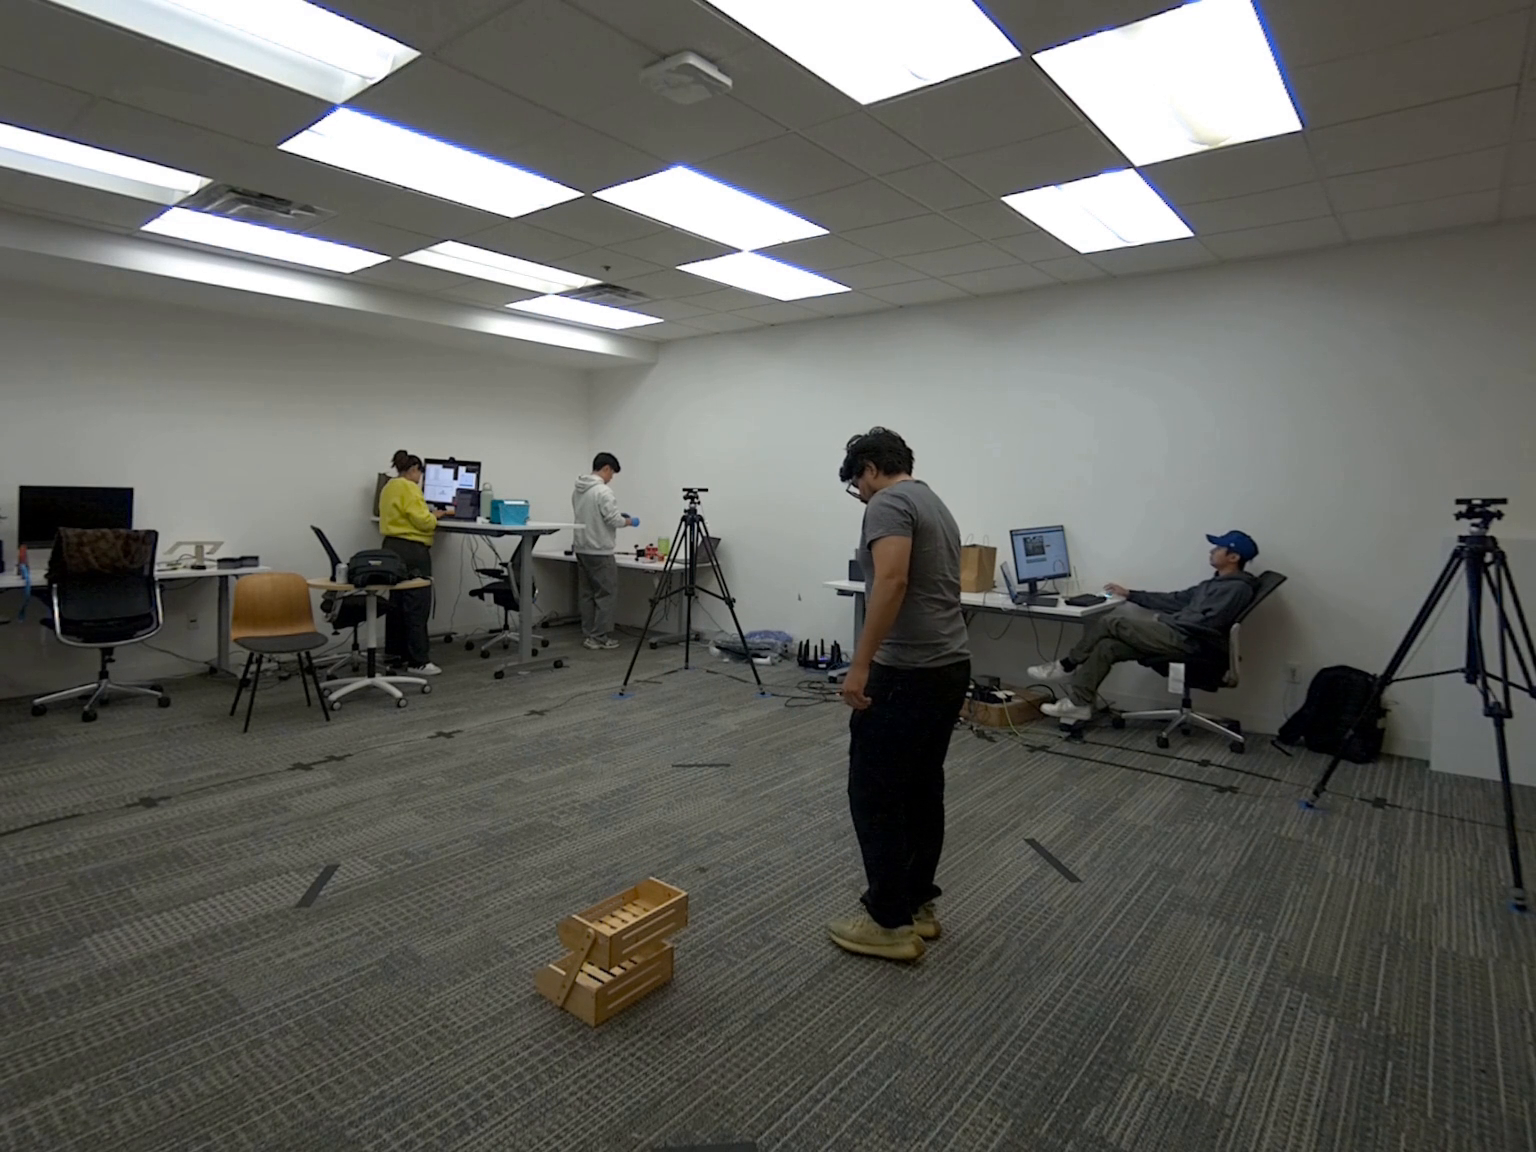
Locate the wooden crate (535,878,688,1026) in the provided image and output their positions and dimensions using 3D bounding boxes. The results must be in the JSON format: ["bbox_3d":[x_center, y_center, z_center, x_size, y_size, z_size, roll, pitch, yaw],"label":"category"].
[{"bbox_3d":[-0.442,1.007,2.358,0.312,0.272,0.315,5,6,37],"label":"wooden crate"}]
